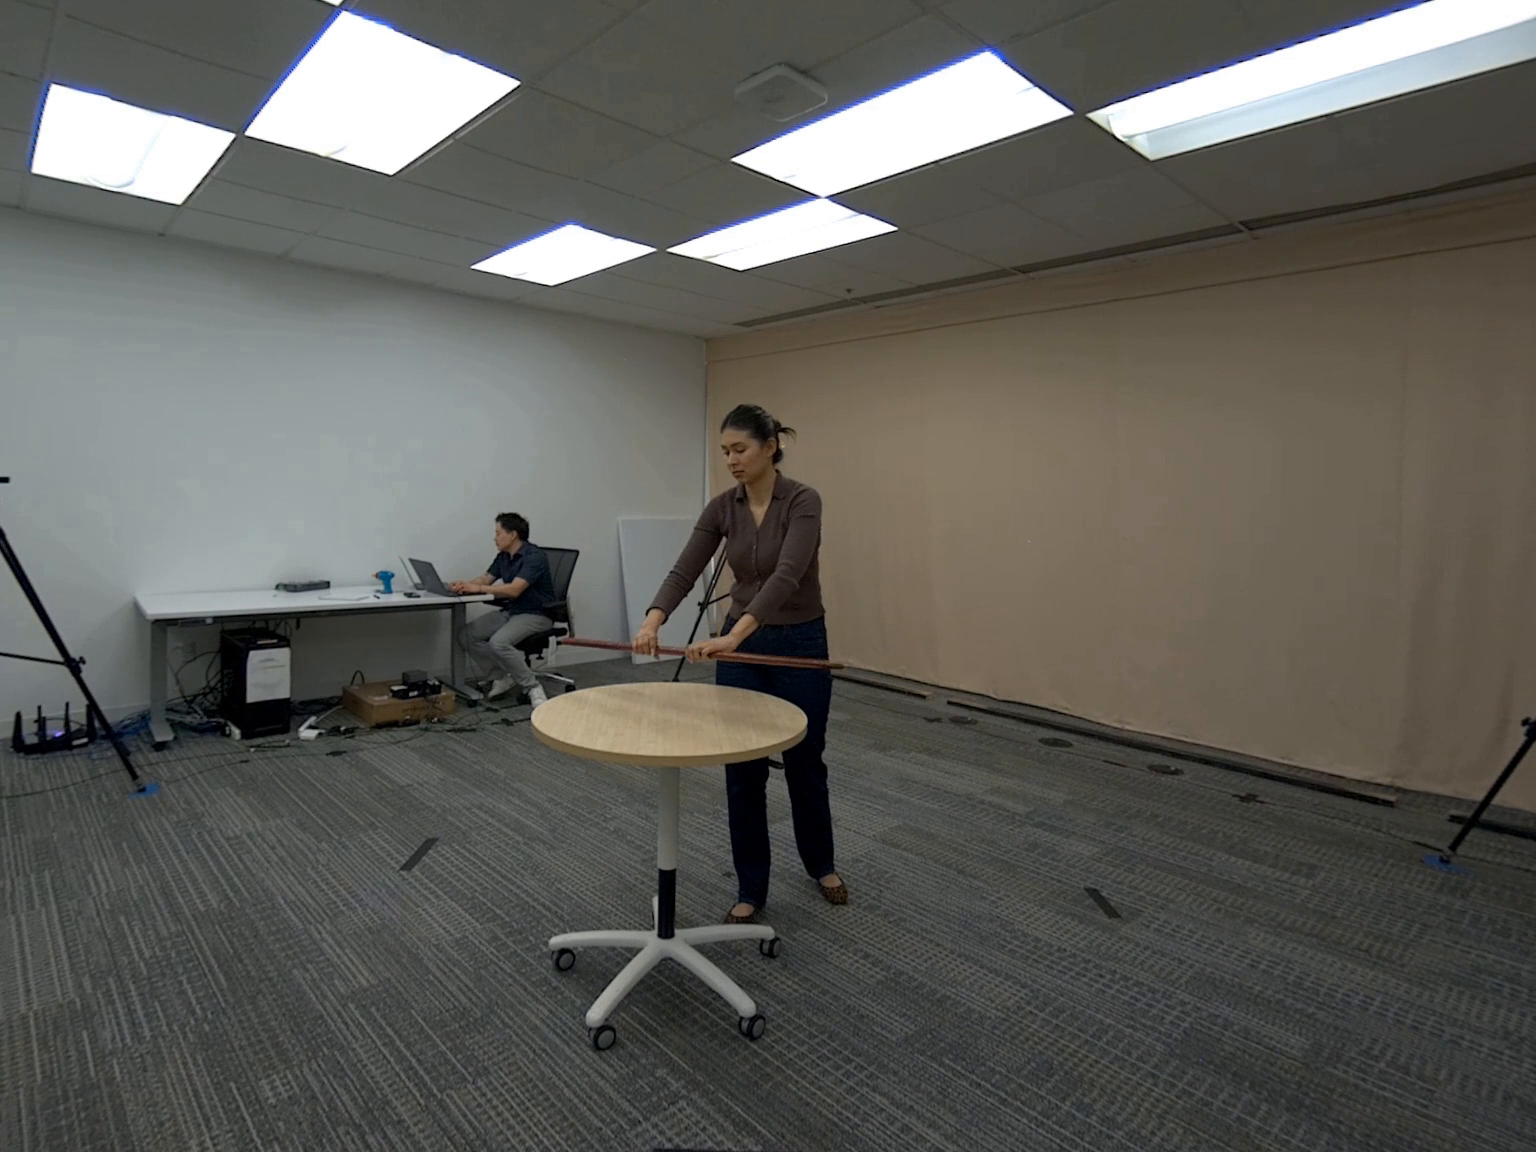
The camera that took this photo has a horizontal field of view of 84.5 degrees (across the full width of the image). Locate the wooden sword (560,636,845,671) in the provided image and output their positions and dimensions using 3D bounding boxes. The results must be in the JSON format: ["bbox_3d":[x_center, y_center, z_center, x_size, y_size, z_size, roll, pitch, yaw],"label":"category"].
[{"bbox_3d":[-0.248,0.220,2.345,1.045,0.051,0.023,0,-9,29],"label":"wooden sword"}]
